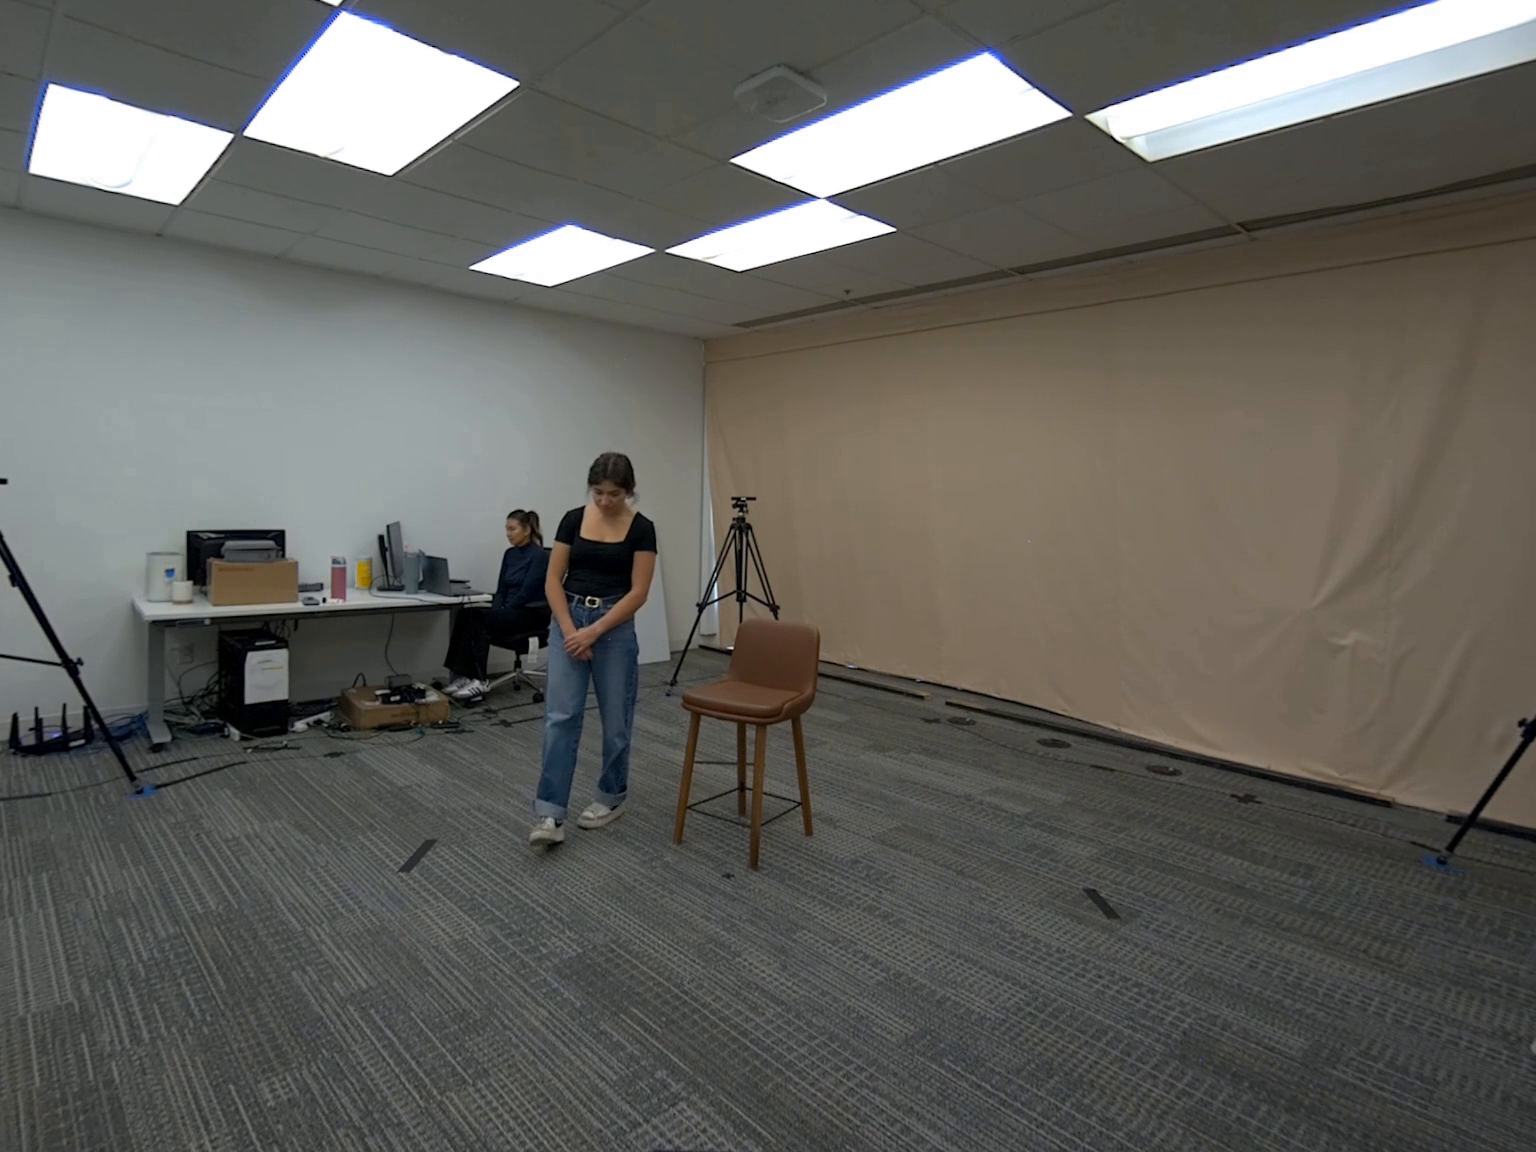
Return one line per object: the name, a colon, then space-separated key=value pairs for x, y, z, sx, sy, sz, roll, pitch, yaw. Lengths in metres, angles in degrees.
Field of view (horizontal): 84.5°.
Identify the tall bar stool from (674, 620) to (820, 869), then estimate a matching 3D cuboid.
tall bar stool: x=-0.087 y=0.646 z=3.433 sx=0.467 sy=0.889 sz=0.457 roll=4 pitch=2 yaw=37
